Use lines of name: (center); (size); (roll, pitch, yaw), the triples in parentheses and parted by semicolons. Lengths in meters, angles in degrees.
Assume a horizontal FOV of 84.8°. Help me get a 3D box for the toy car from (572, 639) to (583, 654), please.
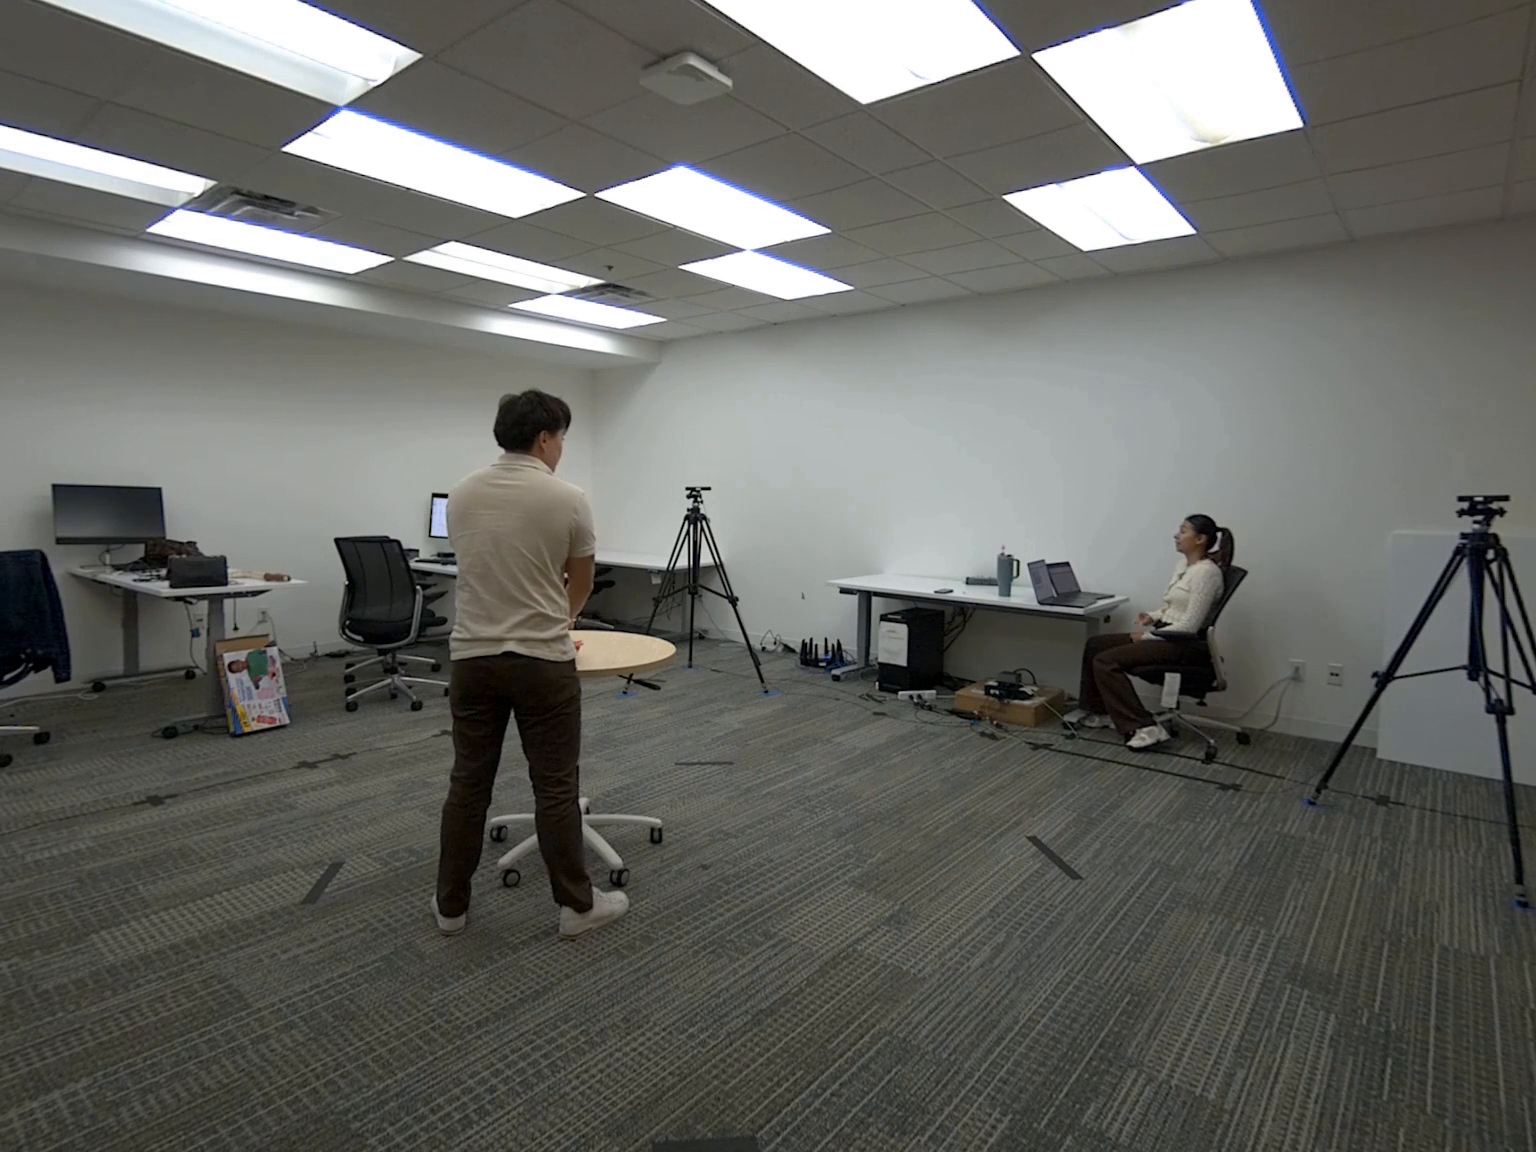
toy car: (-0.775, 0.258, 2.966); (0.251, 0.082, 0.133); (-13, 8, -15)
